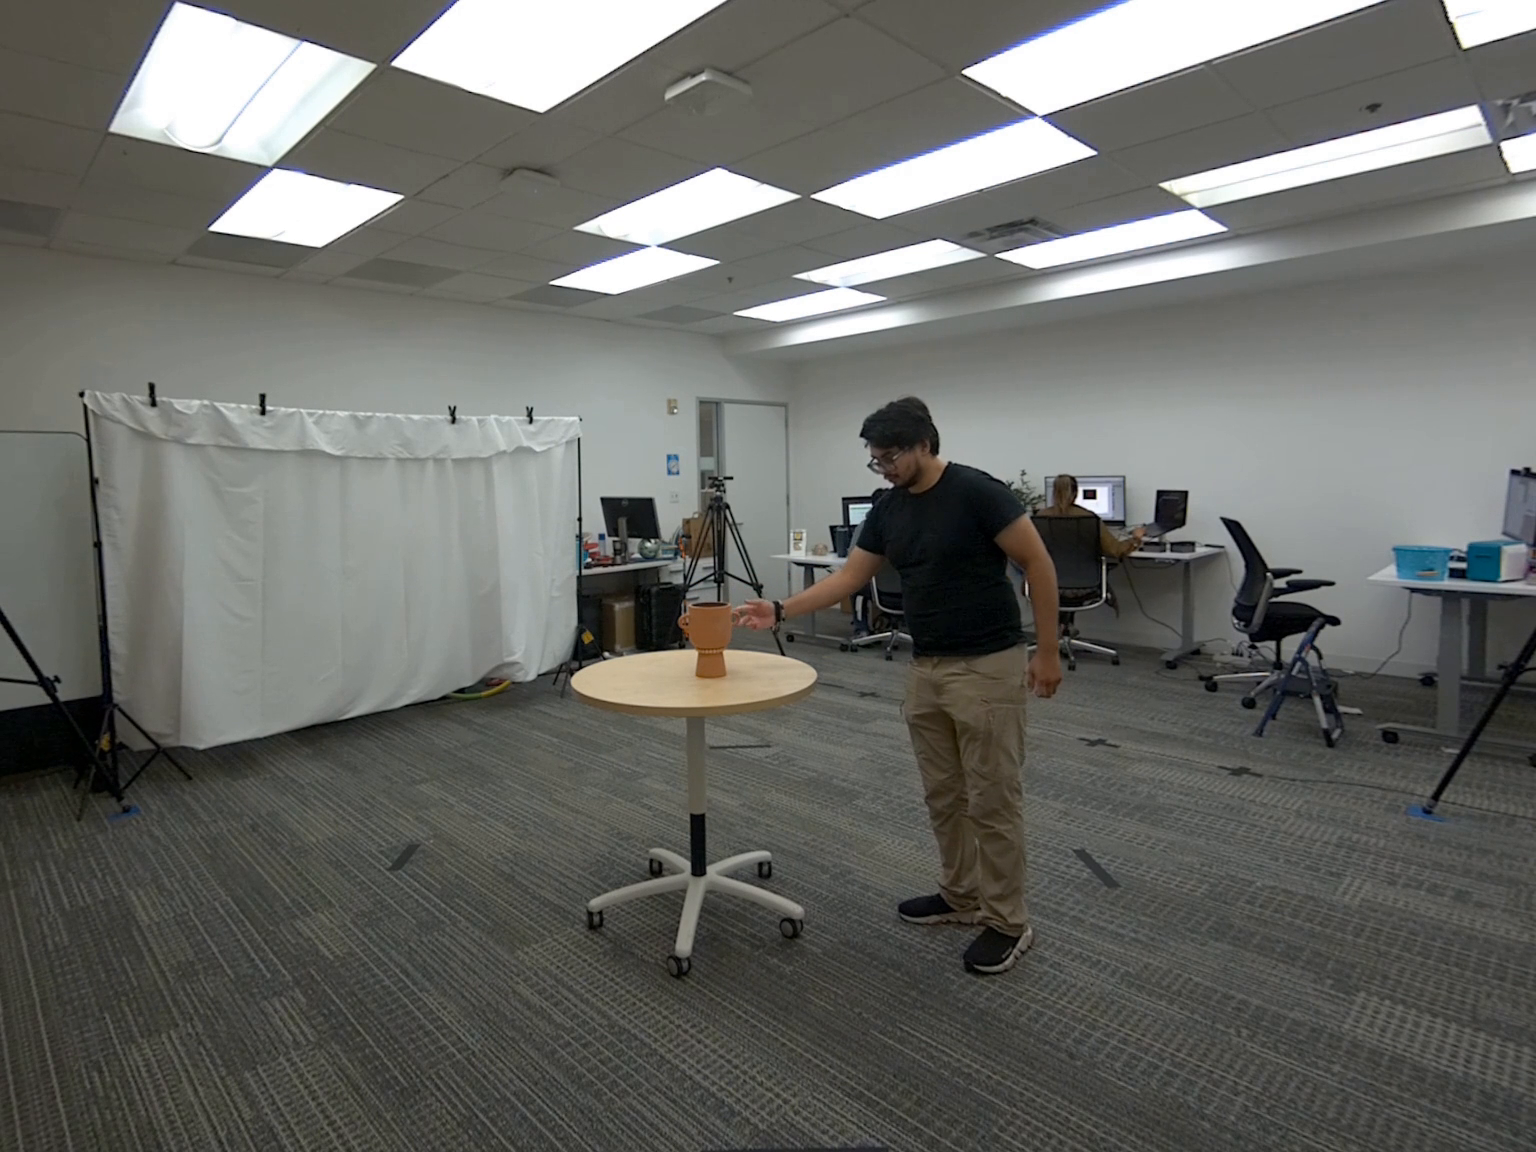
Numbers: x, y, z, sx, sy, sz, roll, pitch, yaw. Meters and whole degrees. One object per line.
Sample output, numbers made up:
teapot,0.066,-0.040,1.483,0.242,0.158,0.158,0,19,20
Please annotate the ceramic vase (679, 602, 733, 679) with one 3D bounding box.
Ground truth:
ceramic vase,-0.176,0.194,2.669,0.162,0.219,0.132,0,2,26
